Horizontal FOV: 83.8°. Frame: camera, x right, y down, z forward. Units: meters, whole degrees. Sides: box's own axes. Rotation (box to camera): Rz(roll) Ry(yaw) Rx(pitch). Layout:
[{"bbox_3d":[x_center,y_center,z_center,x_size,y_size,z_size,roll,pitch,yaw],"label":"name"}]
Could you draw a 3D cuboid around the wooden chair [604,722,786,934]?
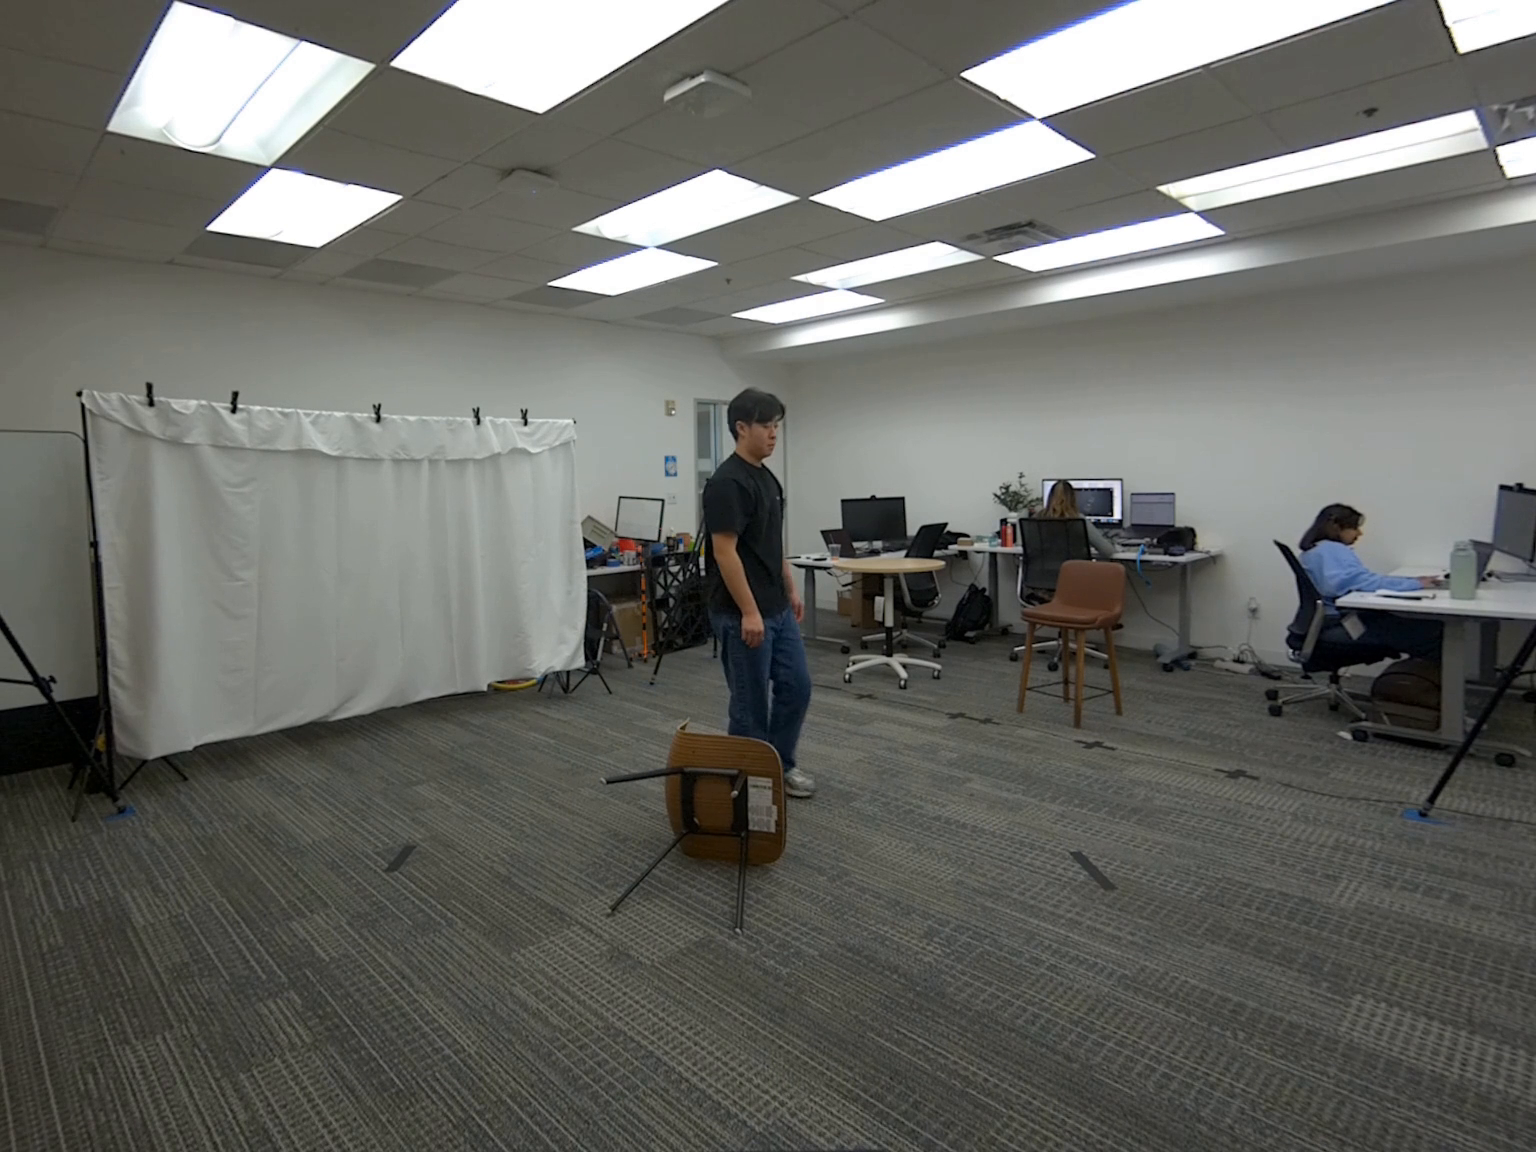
[{"bbox_3d":[-0.196,0.813,3.072,0.530,0.476,0.870,-1,6,12],"label":"wooden chair"}]
